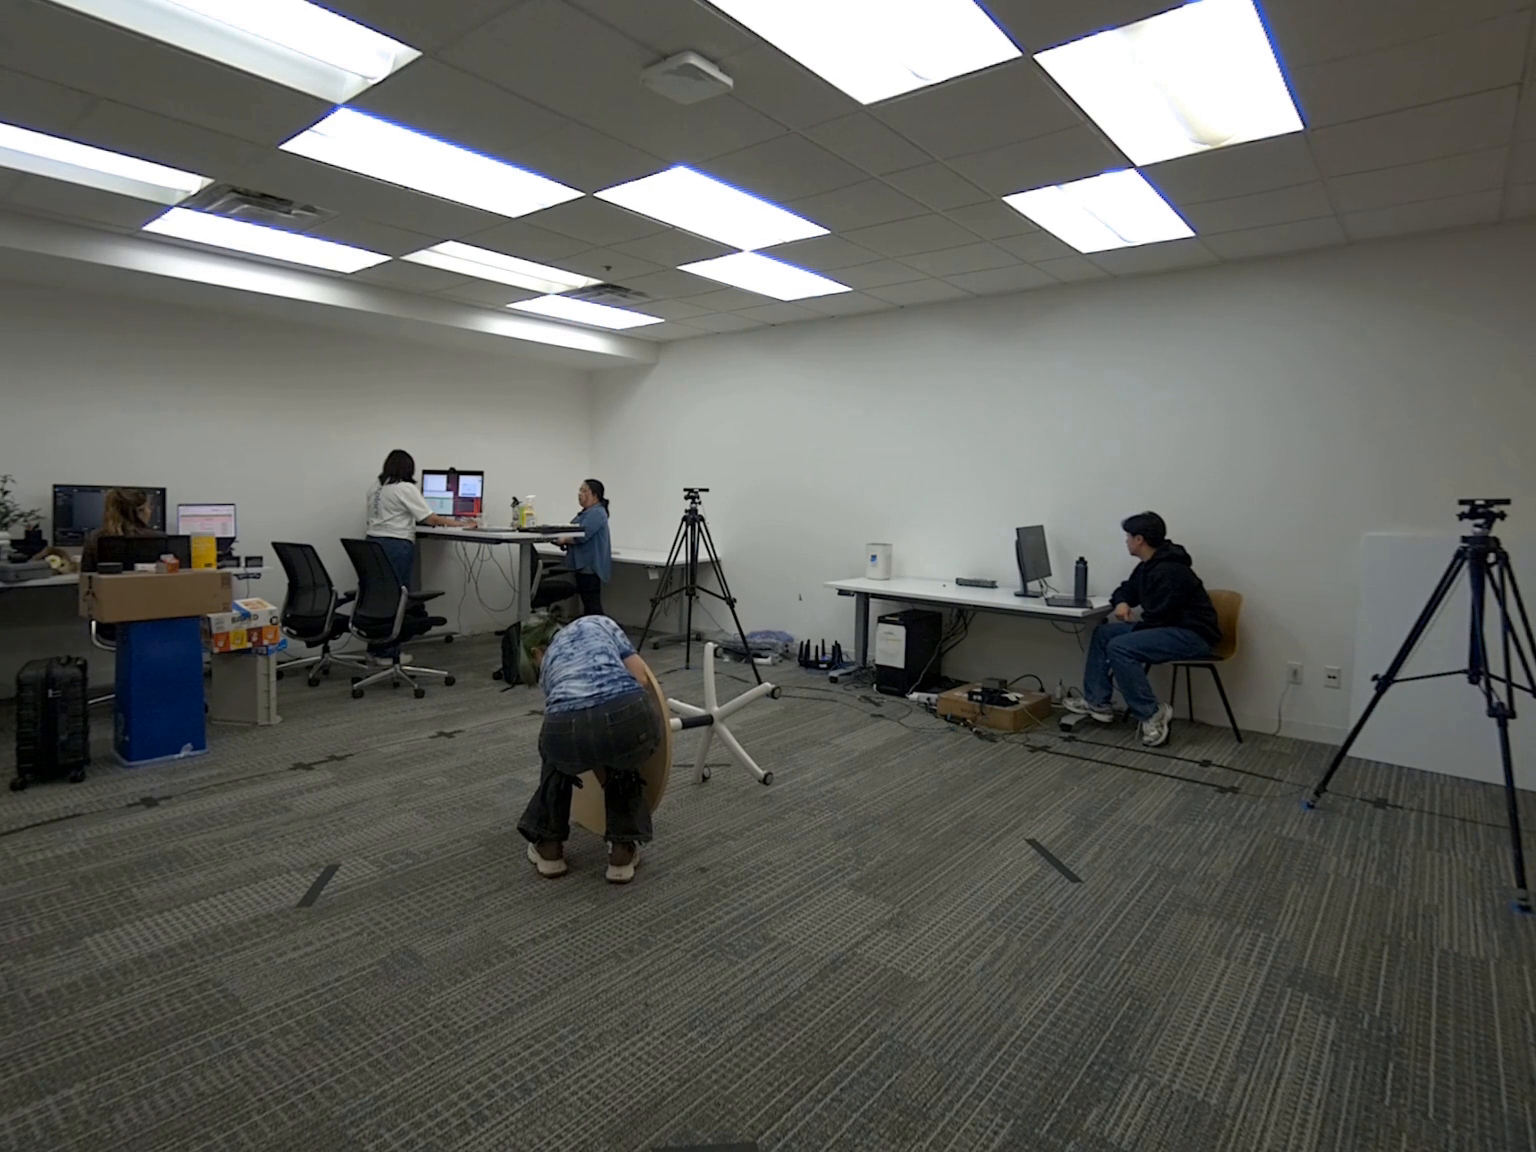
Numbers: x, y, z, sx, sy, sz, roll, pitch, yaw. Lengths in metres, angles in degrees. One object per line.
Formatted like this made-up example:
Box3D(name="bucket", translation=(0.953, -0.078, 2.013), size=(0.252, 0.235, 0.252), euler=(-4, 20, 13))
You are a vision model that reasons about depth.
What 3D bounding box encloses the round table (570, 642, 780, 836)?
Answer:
Box3D(name="round table", translation=(-0.443, 0.655, 3.719), size=(0.790, 0.764, 0.768), euler=(4, 1, 40))
